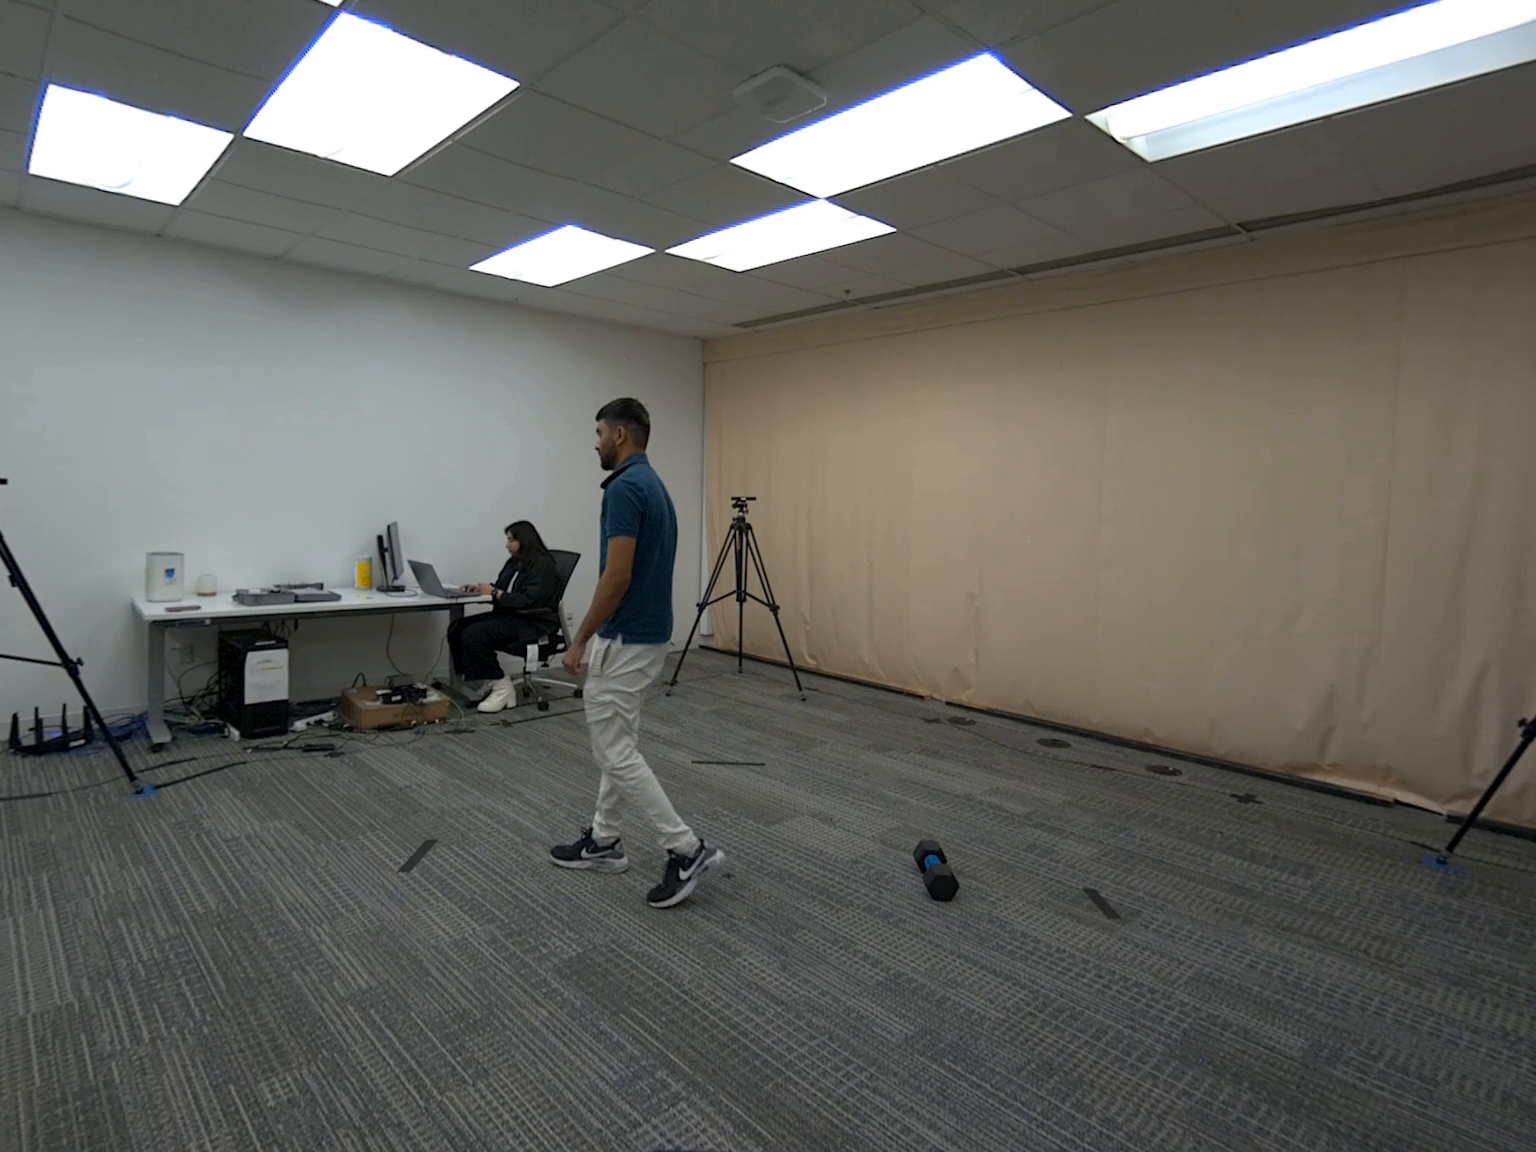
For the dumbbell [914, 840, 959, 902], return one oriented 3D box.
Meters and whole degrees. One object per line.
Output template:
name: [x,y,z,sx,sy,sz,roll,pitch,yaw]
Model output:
dumbbell: [0.598,1.076,3.082,0.109,0.122,0.294,-30,4,2]
